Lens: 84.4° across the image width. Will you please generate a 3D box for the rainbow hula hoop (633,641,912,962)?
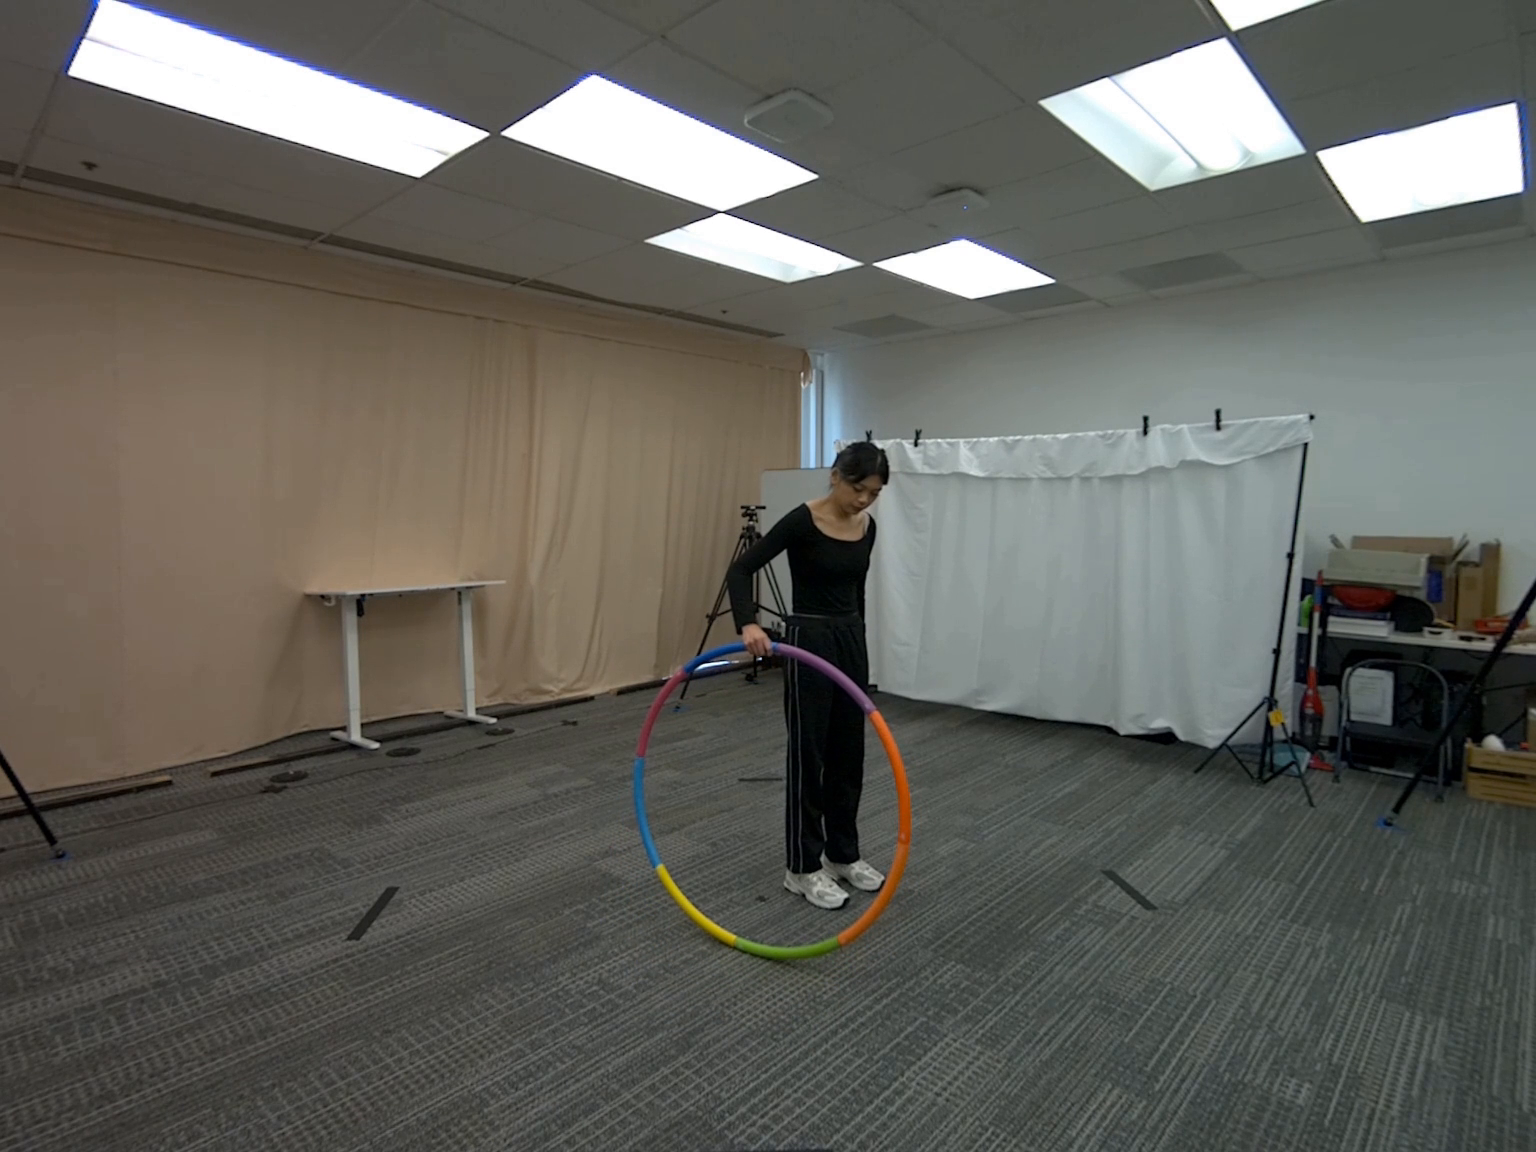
[{"bbox_3d":[-0.027,0.690,2.659,1.008,0.980,0.034,2,-4,32],"label":"rainbow hula hoop"}]
